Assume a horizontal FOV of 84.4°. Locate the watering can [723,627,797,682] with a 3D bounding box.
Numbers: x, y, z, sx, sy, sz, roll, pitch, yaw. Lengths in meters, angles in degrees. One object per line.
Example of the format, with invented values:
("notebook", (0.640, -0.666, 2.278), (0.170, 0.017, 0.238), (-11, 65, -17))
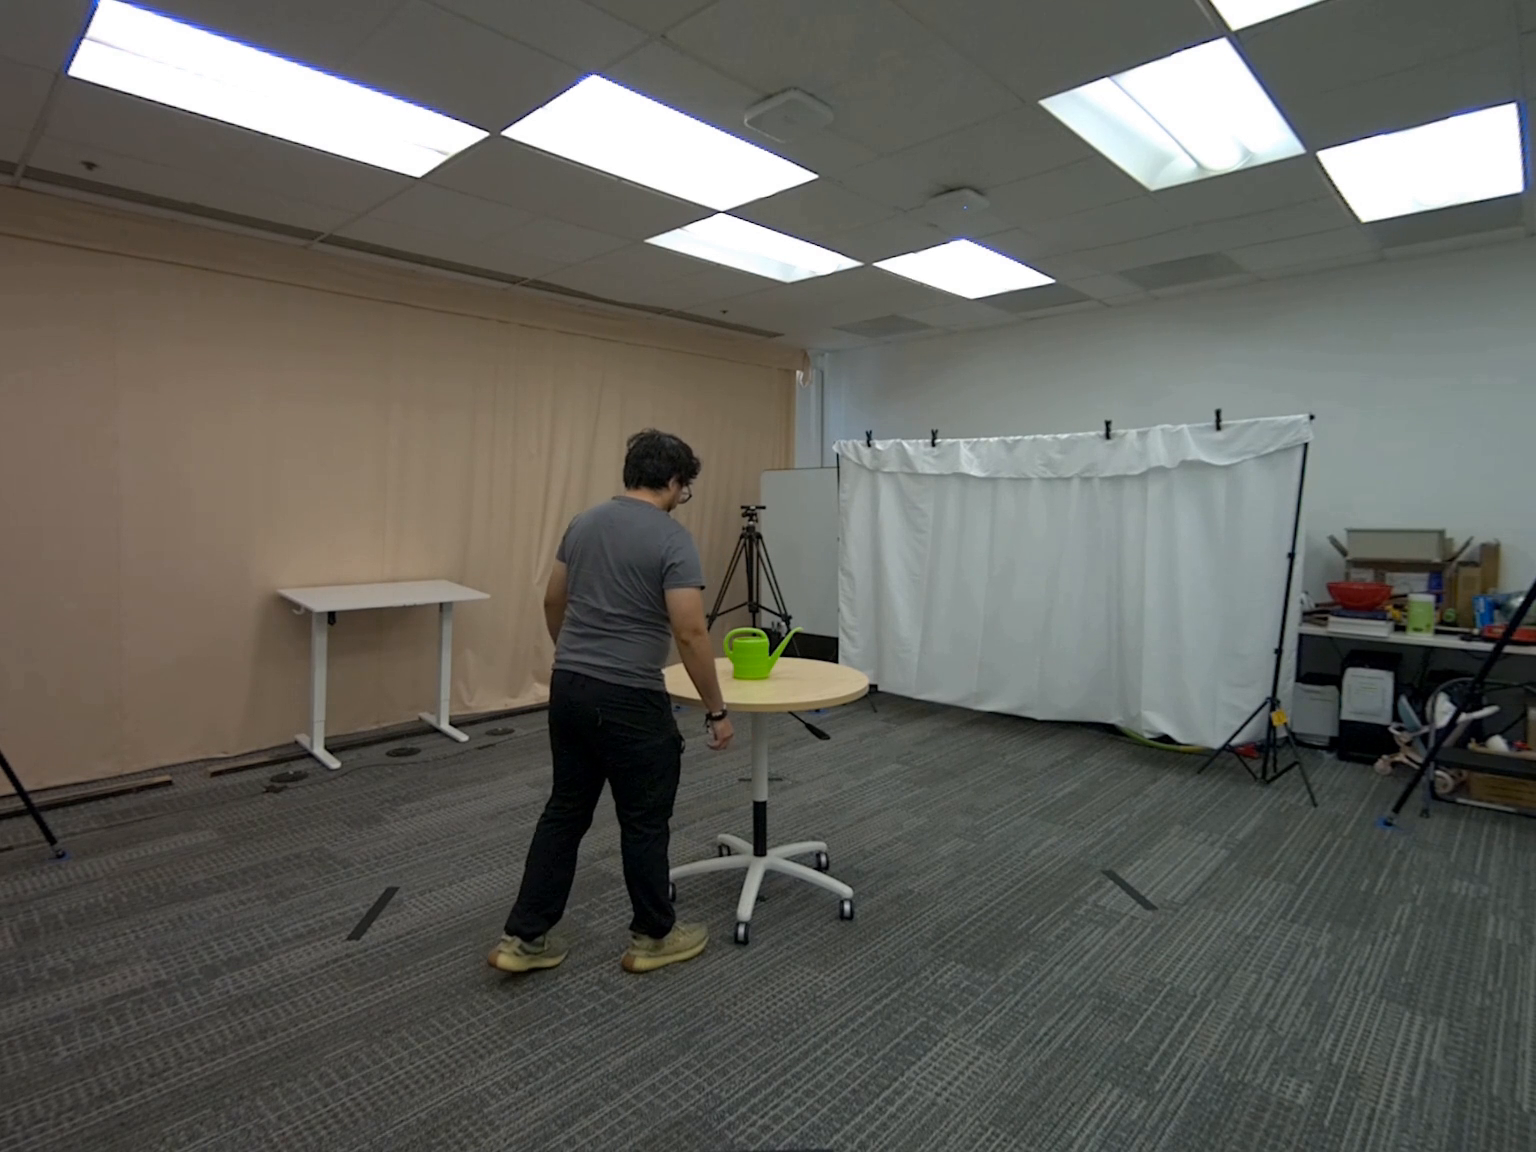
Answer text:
("watering can", (-0.008, 0.279, 2.964), (0.285, 0.176, 0.096), (2, 4, 24))
